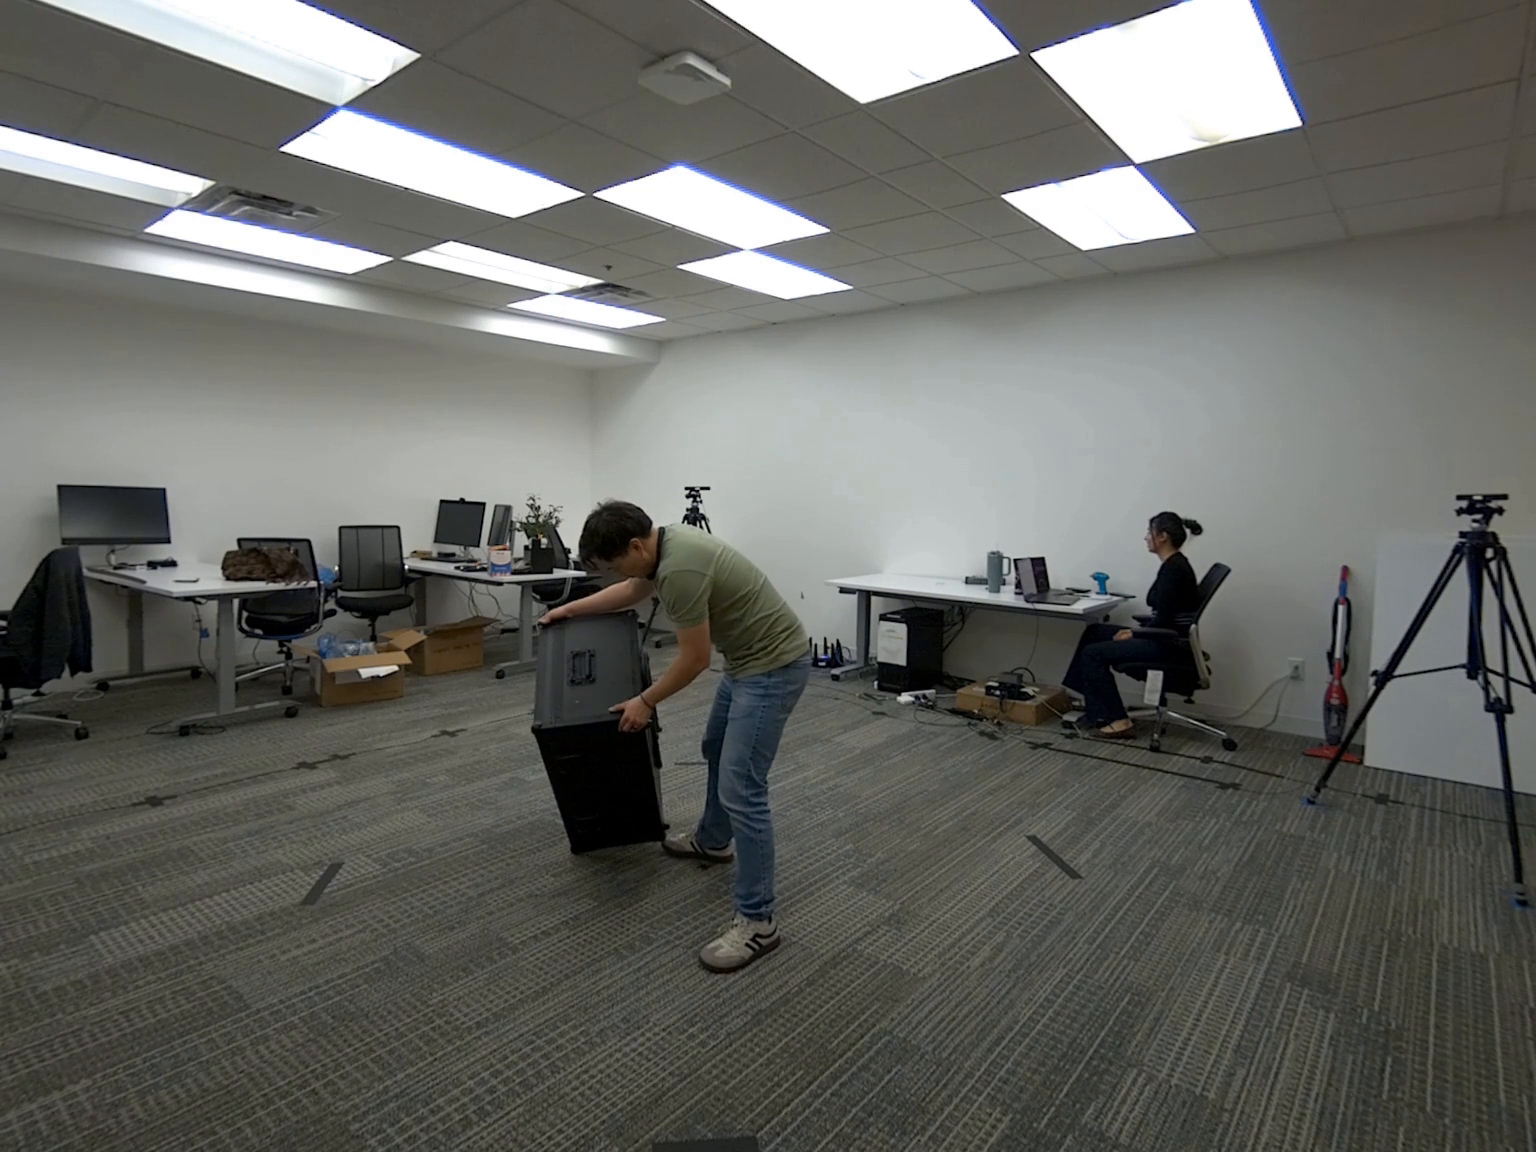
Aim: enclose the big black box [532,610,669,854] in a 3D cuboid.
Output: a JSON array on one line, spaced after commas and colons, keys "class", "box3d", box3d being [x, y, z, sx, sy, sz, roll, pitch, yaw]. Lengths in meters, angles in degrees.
[{"class": "big black box", "box3d": [-0.612, 0.606, 3.175, 0.395, 0.836, 0.539, -6, 43, -5]}]
